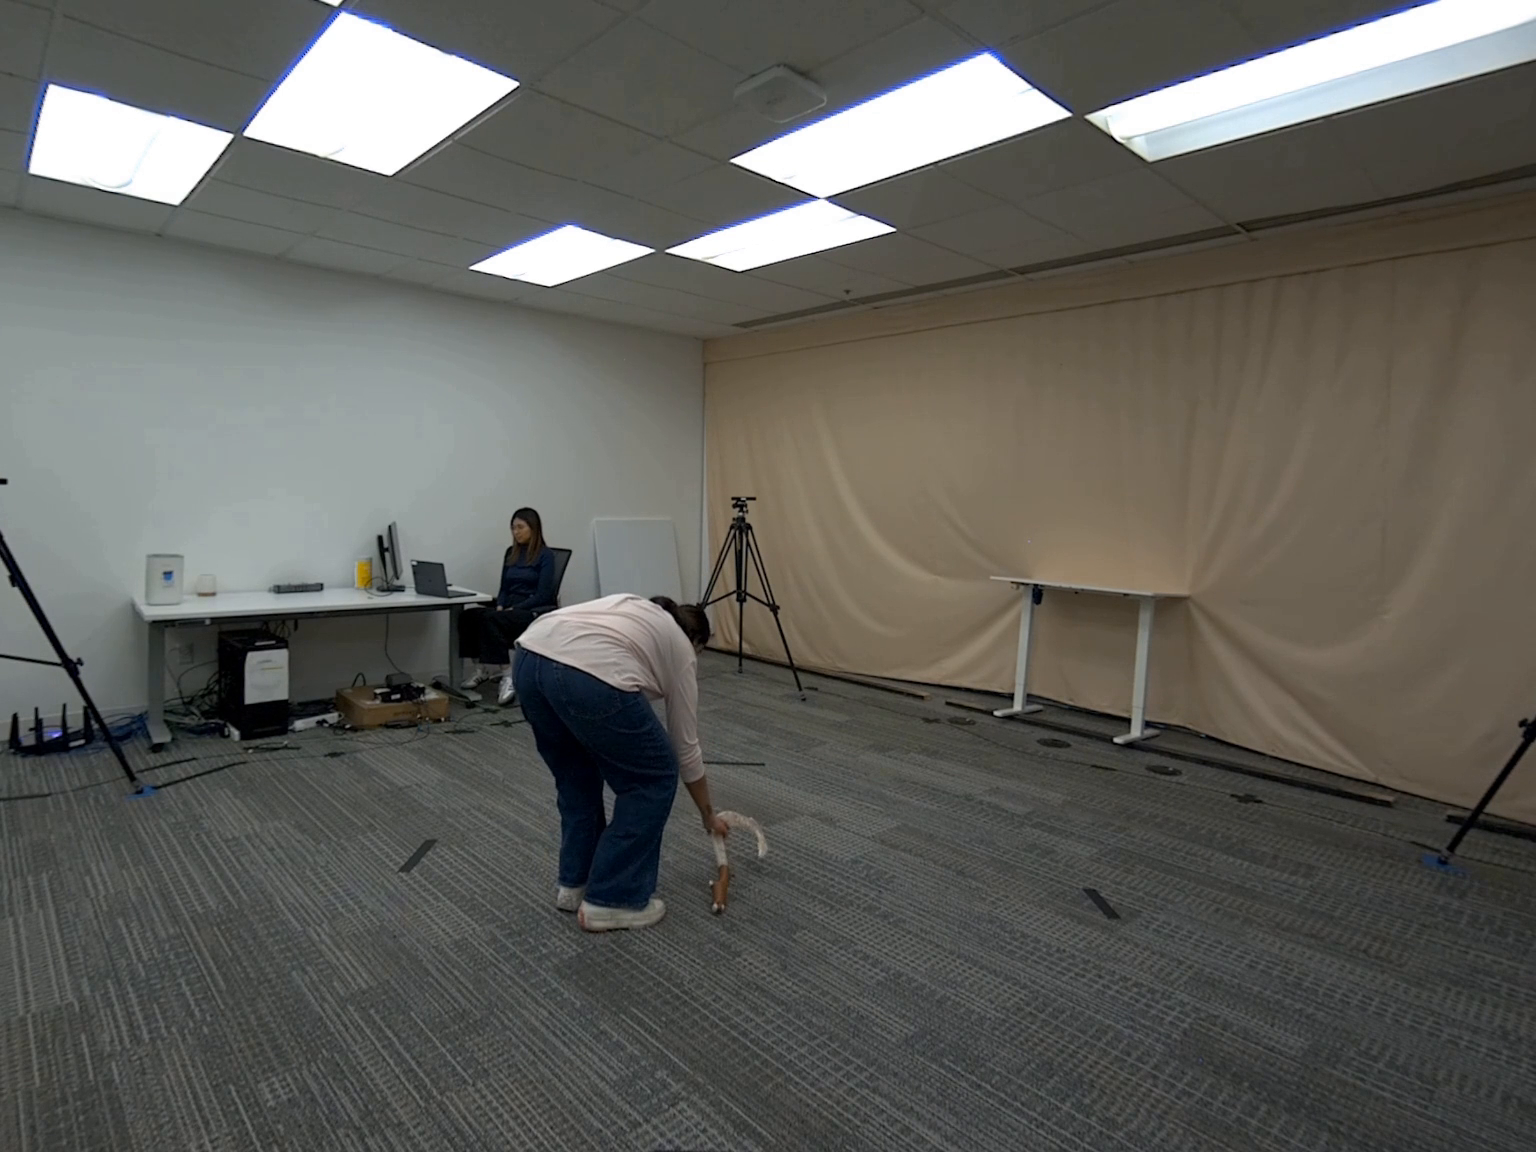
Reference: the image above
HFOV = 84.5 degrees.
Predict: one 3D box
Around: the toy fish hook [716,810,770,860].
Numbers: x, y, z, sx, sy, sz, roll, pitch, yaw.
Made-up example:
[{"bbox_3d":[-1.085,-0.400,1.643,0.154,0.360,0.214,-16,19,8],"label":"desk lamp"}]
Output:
[{"bbox_3d":[-0.118,1.044,3.029,0.224,0.048,0.513,14,23,-3],"label":"toy fish hook"}]
